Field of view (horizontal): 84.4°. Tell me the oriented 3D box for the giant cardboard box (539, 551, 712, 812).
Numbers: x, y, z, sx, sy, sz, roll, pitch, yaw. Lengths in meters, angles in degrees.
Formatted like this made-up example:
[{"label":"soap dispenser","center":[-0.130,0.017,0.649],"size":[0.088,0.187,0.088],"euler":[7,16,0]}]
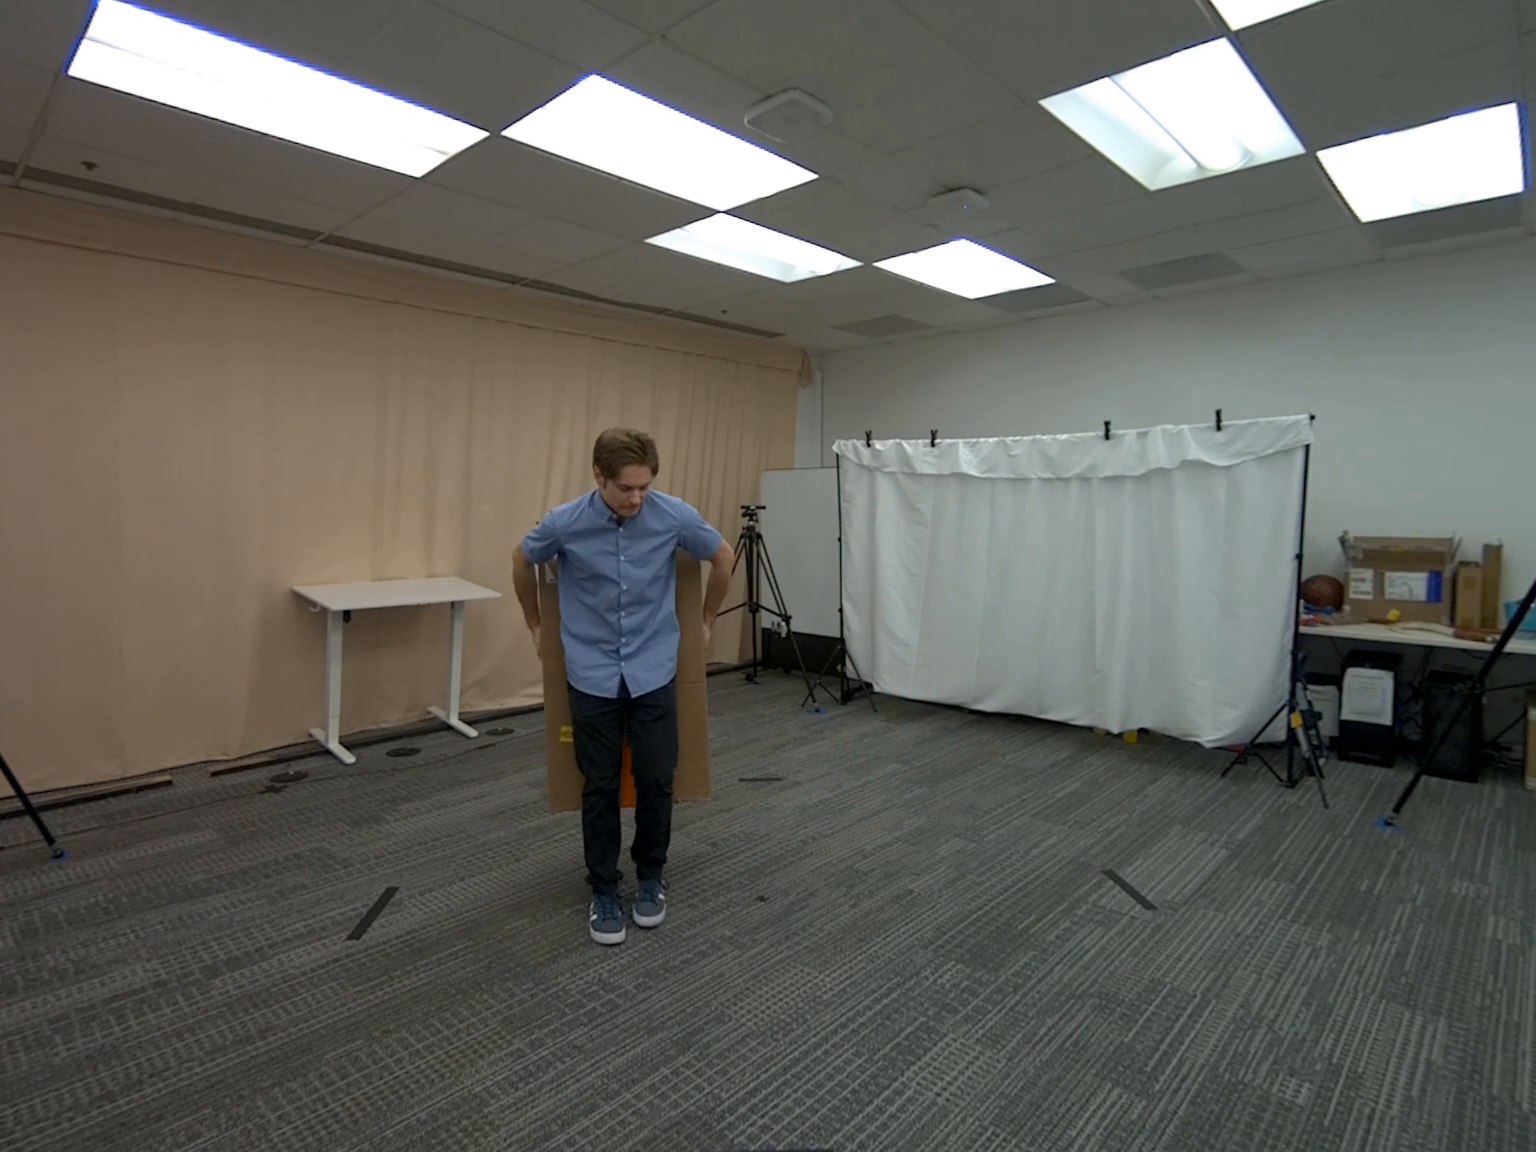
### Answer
[{"label":"giant cardboard box","center":[-0.535,0.300,3.163],"size":[0.580,1.027,0.450],"euler":[-3,0,-7]}]
